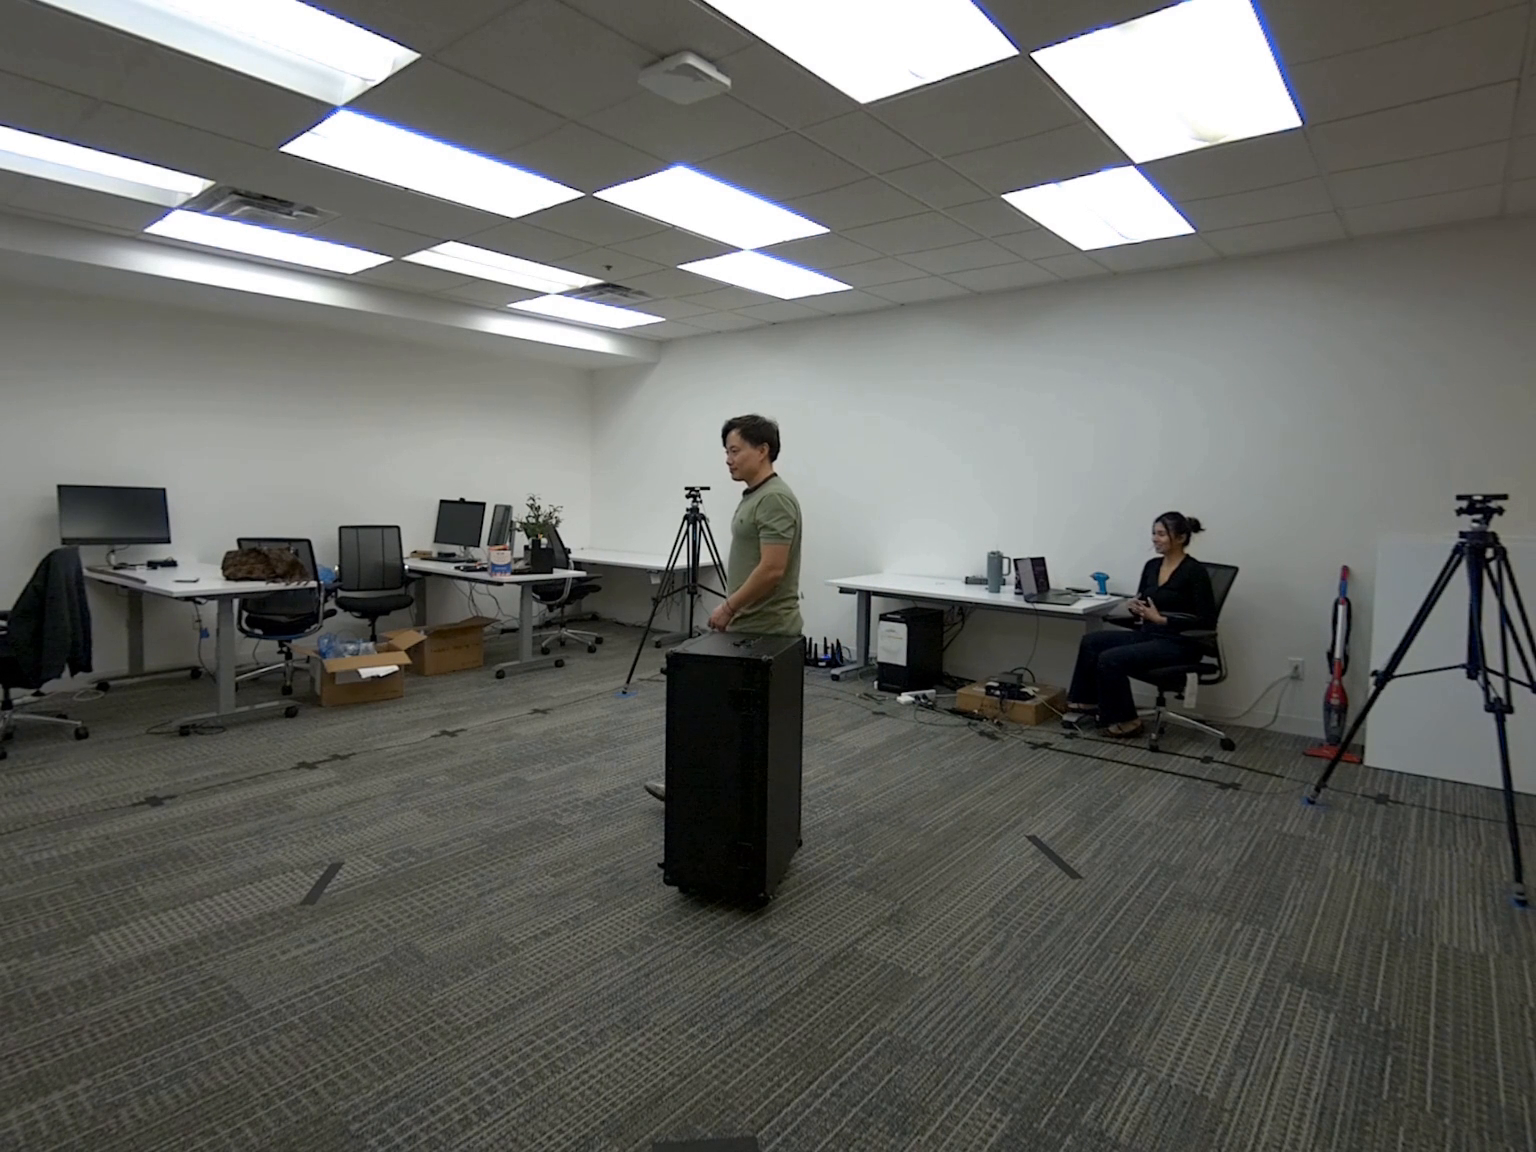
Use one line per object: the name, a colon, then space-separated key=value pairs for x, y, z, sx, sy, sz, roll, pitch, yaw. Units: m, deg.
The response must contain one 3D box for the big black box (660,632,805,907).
big black box: x=-0.135 y=0.660 z=2.958 sx=0.404 sy=0.860 sz=0.513 roll=1 pitch=3 yaw=17
